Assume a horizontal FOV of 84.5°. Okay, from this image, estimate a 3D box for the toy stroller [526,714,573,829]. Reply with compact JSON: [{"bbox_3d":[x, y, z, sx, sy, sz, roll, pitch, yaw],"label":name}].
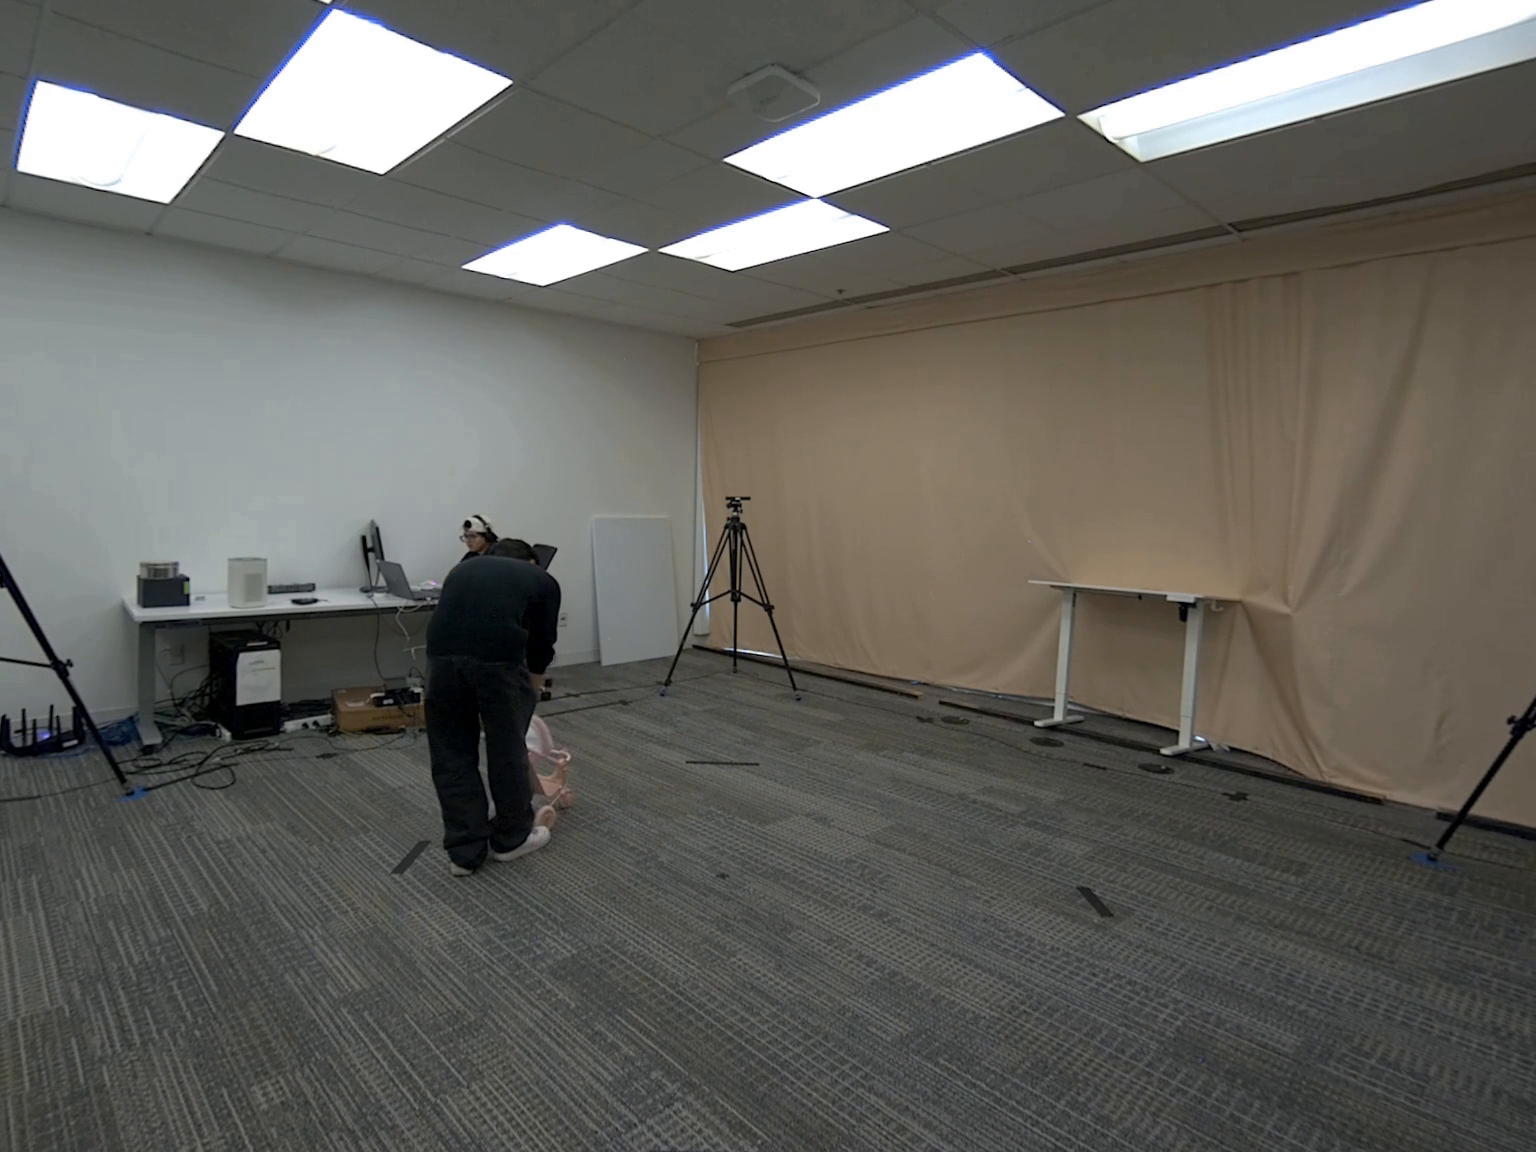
[{"bbox_3d":[-0.996,0.823,3.578,0.288,0.527,0.338,5,21,34],"label":"toy stroller"}]
